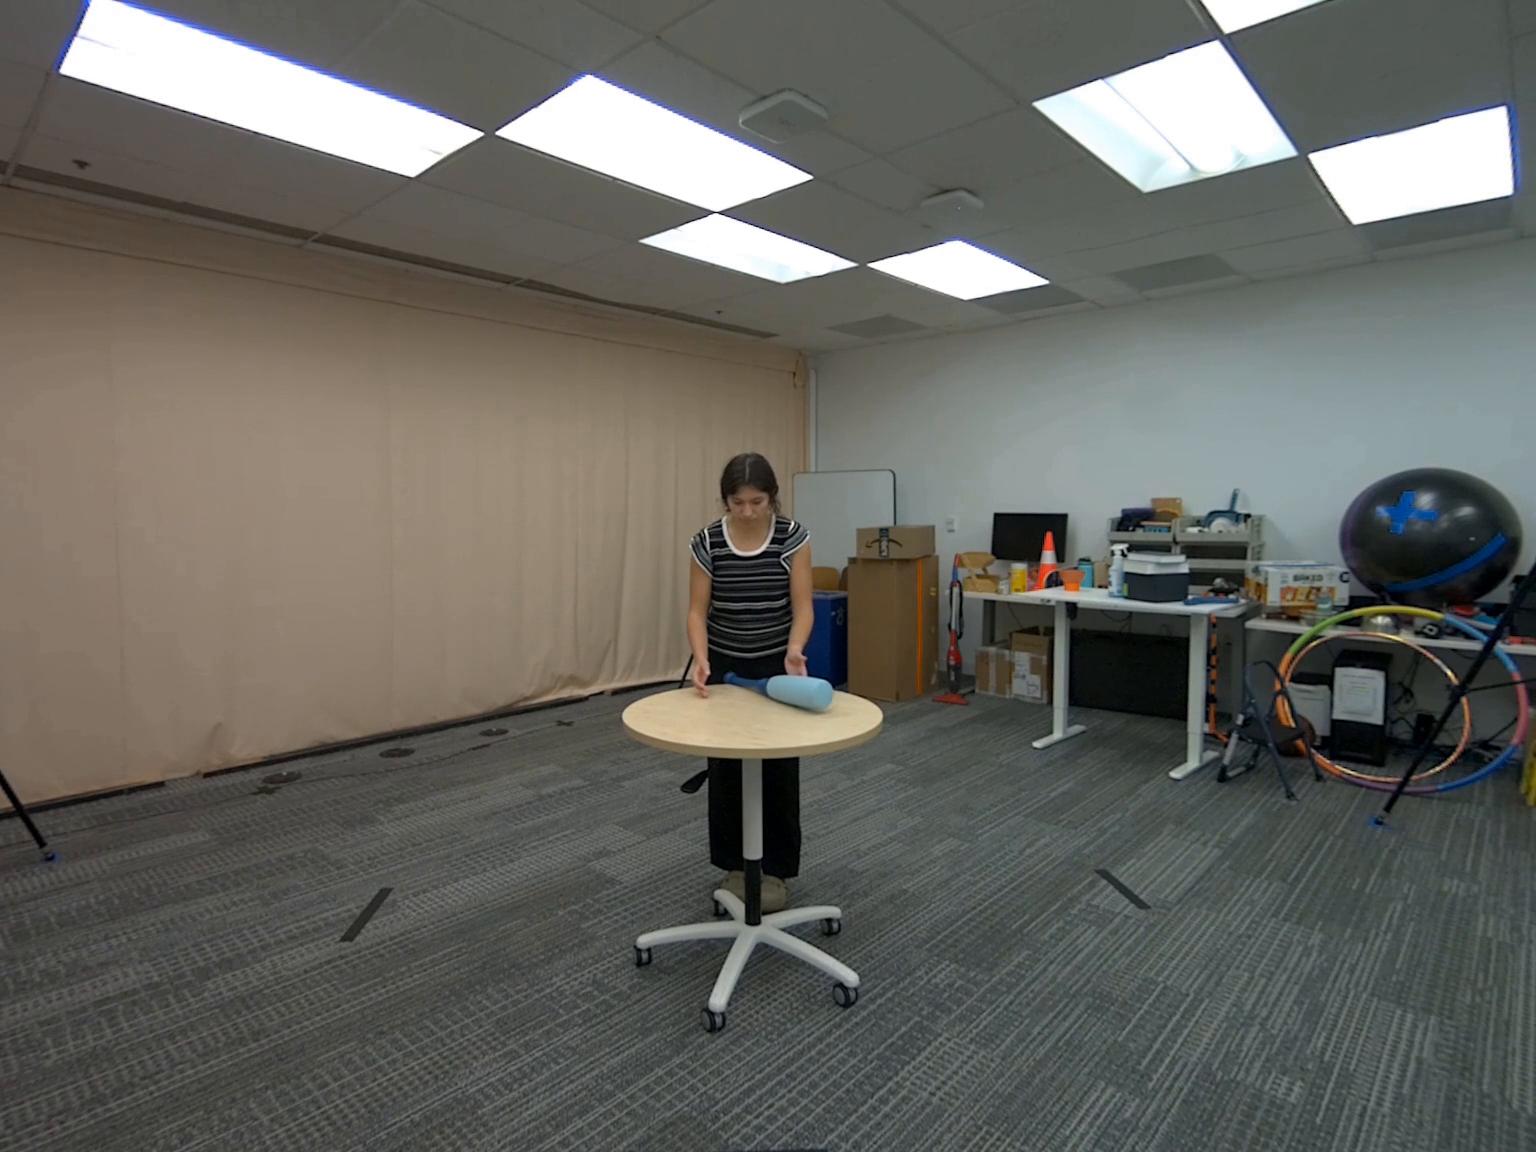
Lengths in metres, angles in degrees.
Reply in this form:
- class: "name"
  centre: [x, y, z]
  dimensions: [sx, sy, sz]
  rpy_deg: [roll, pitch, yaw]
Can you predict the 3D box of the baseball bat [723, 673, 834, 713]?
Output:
- class: "baseball bat"
  centre: [0.013, 0.350, 2.676]
  dimensions: [0.087, 0.089, 0.556]
  rpy_deg: [-2, 0, -28]
